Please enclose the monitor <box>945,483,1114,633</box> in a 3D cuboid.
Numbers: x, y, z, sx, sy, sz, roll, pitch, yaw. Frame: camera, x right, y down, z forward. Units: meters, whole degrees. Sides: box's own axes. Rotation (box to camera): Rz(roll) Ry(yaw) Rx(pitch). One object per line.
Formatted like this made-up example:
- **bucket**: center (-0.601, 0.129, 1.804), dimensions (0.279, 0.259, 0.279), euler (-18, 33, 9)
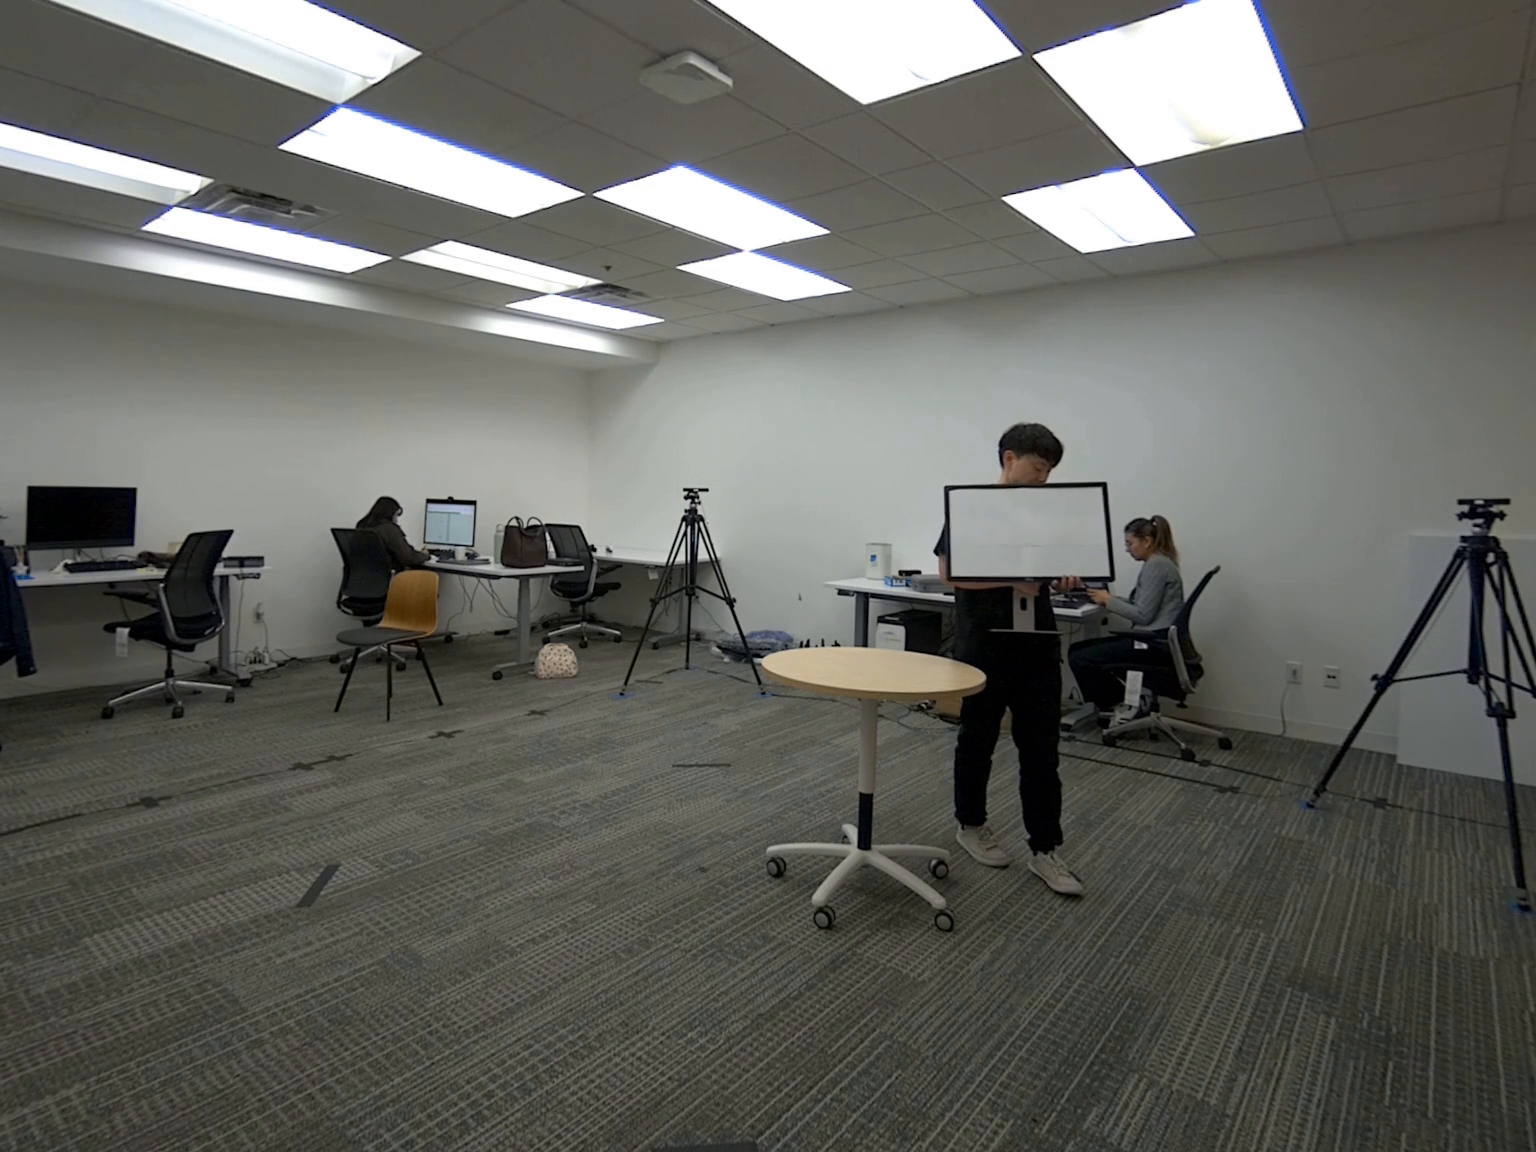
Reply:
- **monitor**: center (0.924, -0.066, 3.054), dimensions (0.545, 0.525, 0.184), euler (-1, -5, 11)
